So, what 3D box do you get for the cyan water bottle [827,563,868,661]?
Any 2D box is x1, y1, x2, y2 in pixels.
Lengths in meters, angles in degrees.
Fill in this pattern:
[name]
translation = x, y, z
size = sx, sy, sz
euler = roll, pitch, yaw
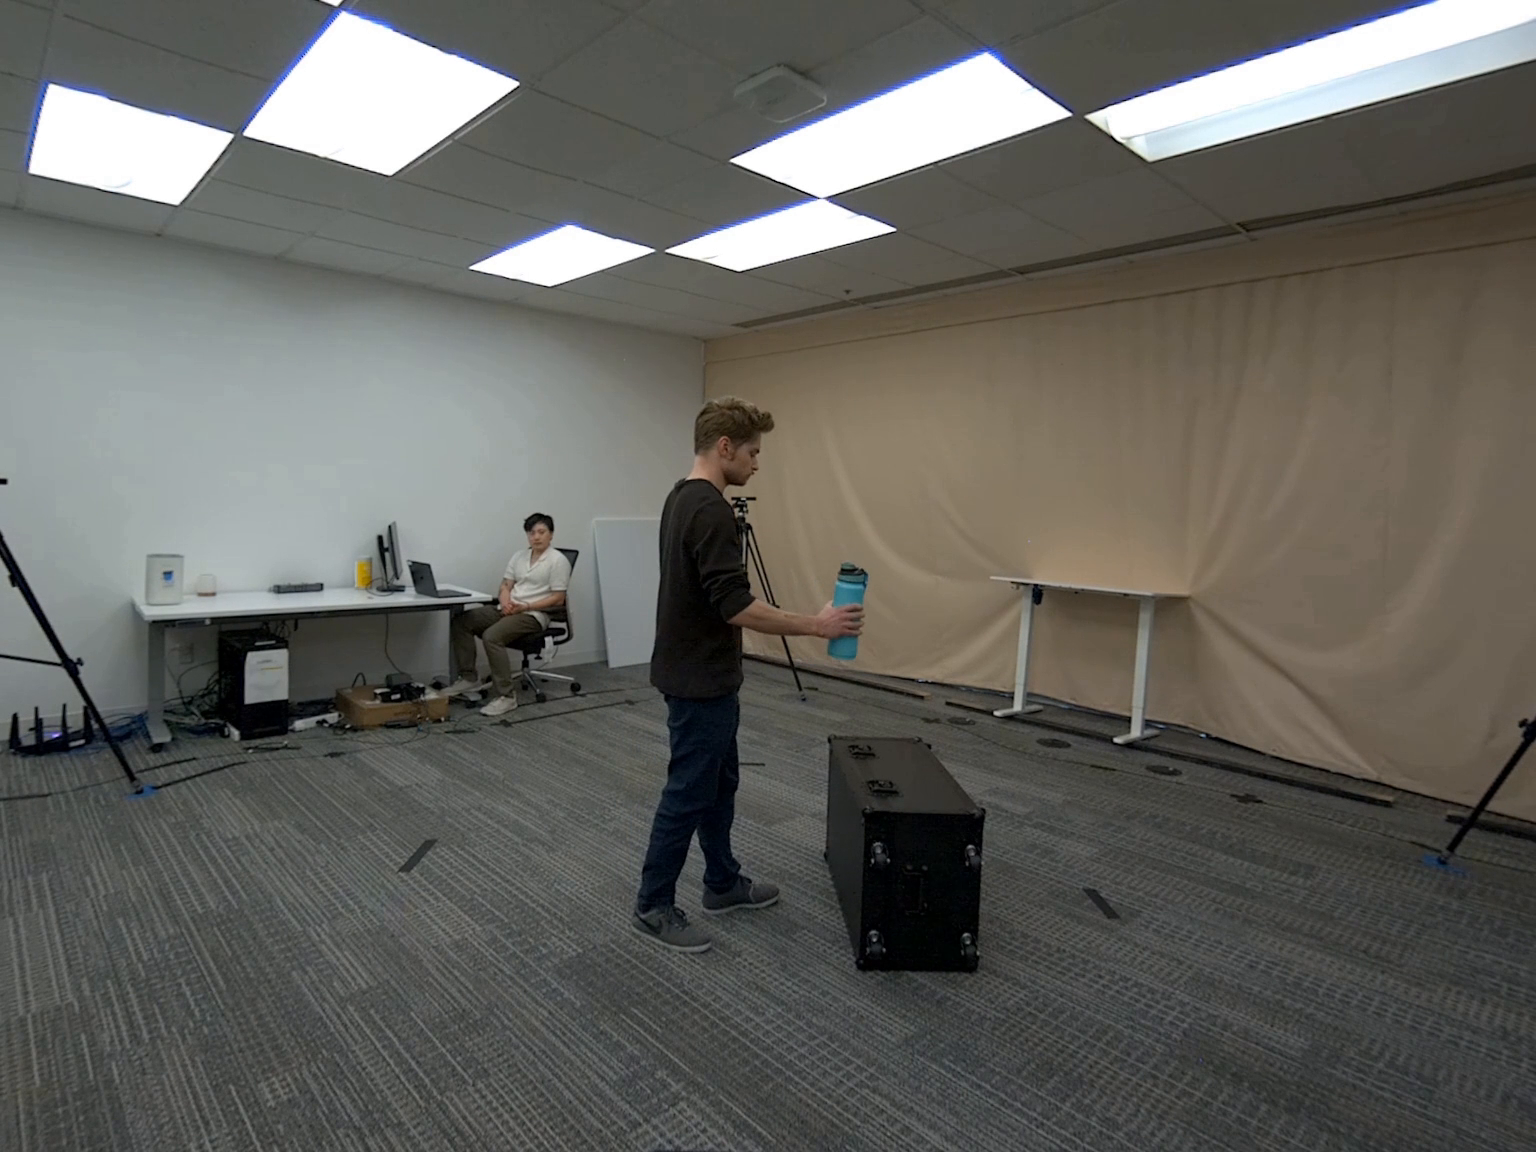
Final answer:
[cyan water bottle]
translation = 0.220, 0.098, 2.510
size = 0.092, 0.282, 0.093
euler = 11, 5, -3
